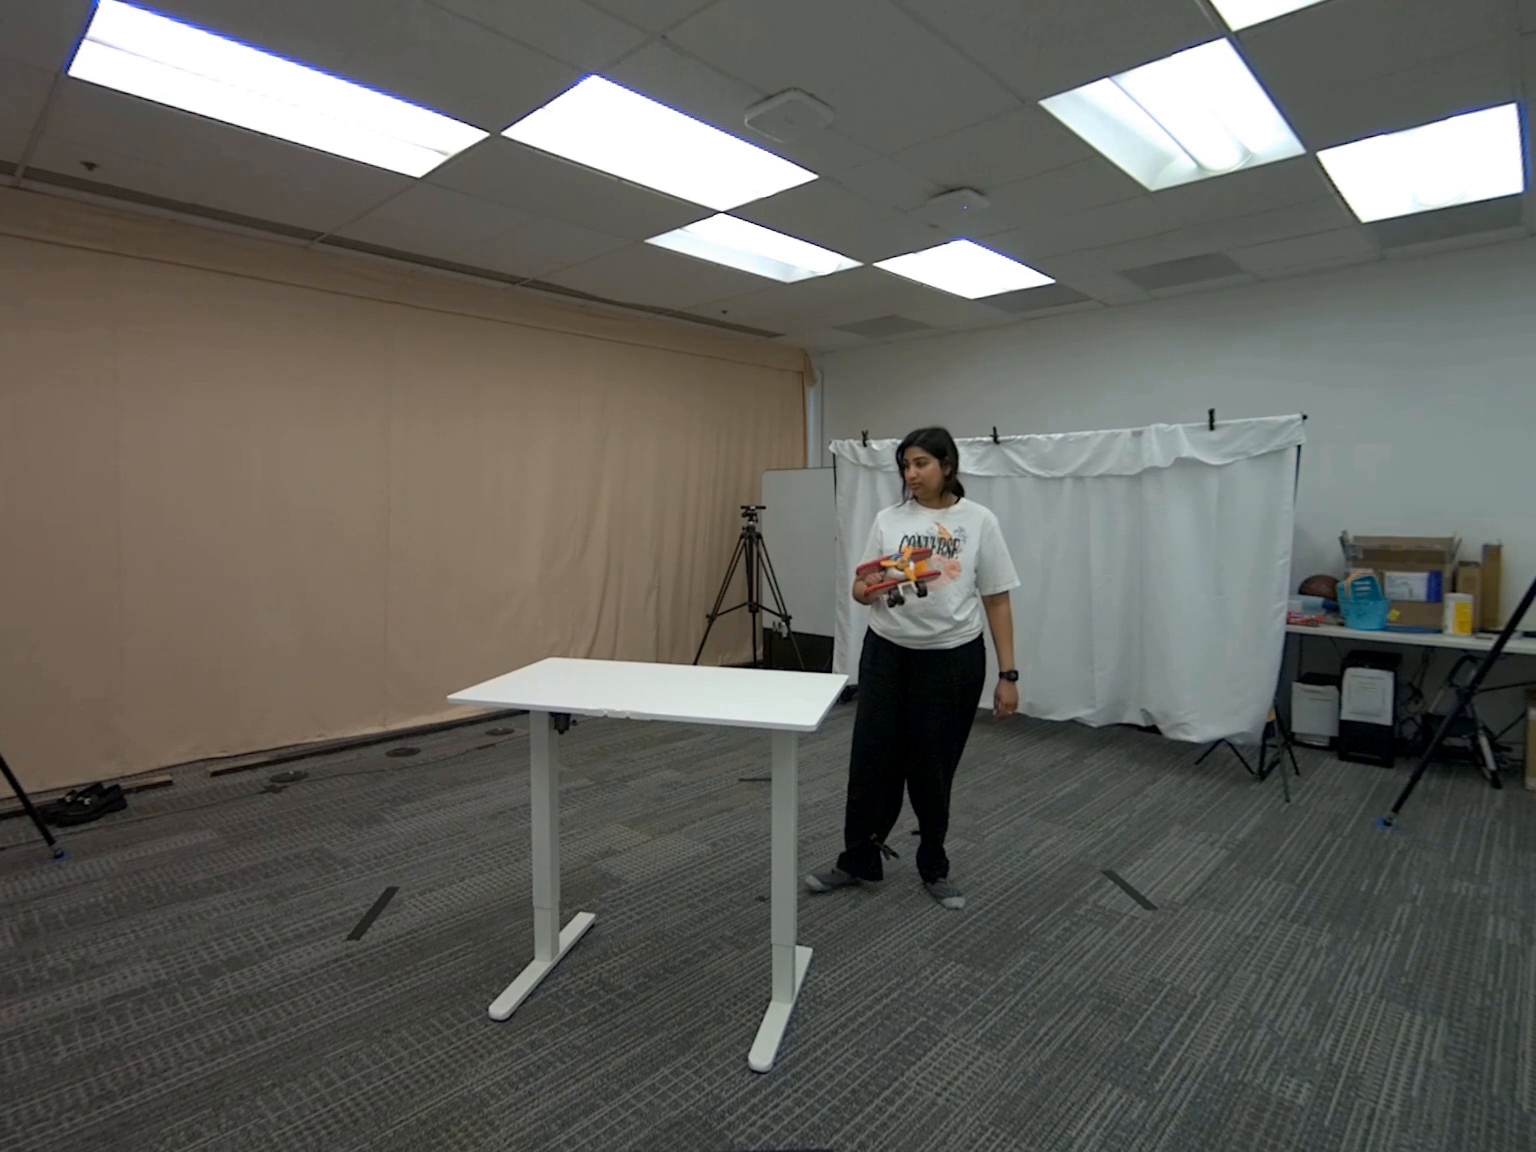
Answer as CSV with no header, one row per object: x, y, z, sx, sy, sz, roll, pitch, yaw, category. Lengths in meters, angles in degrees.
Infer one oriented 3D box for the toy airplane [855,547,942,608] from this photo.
0.398,0.021,2.721,0.245,0.157,0.264,-10,-8,-32,toy airplane
